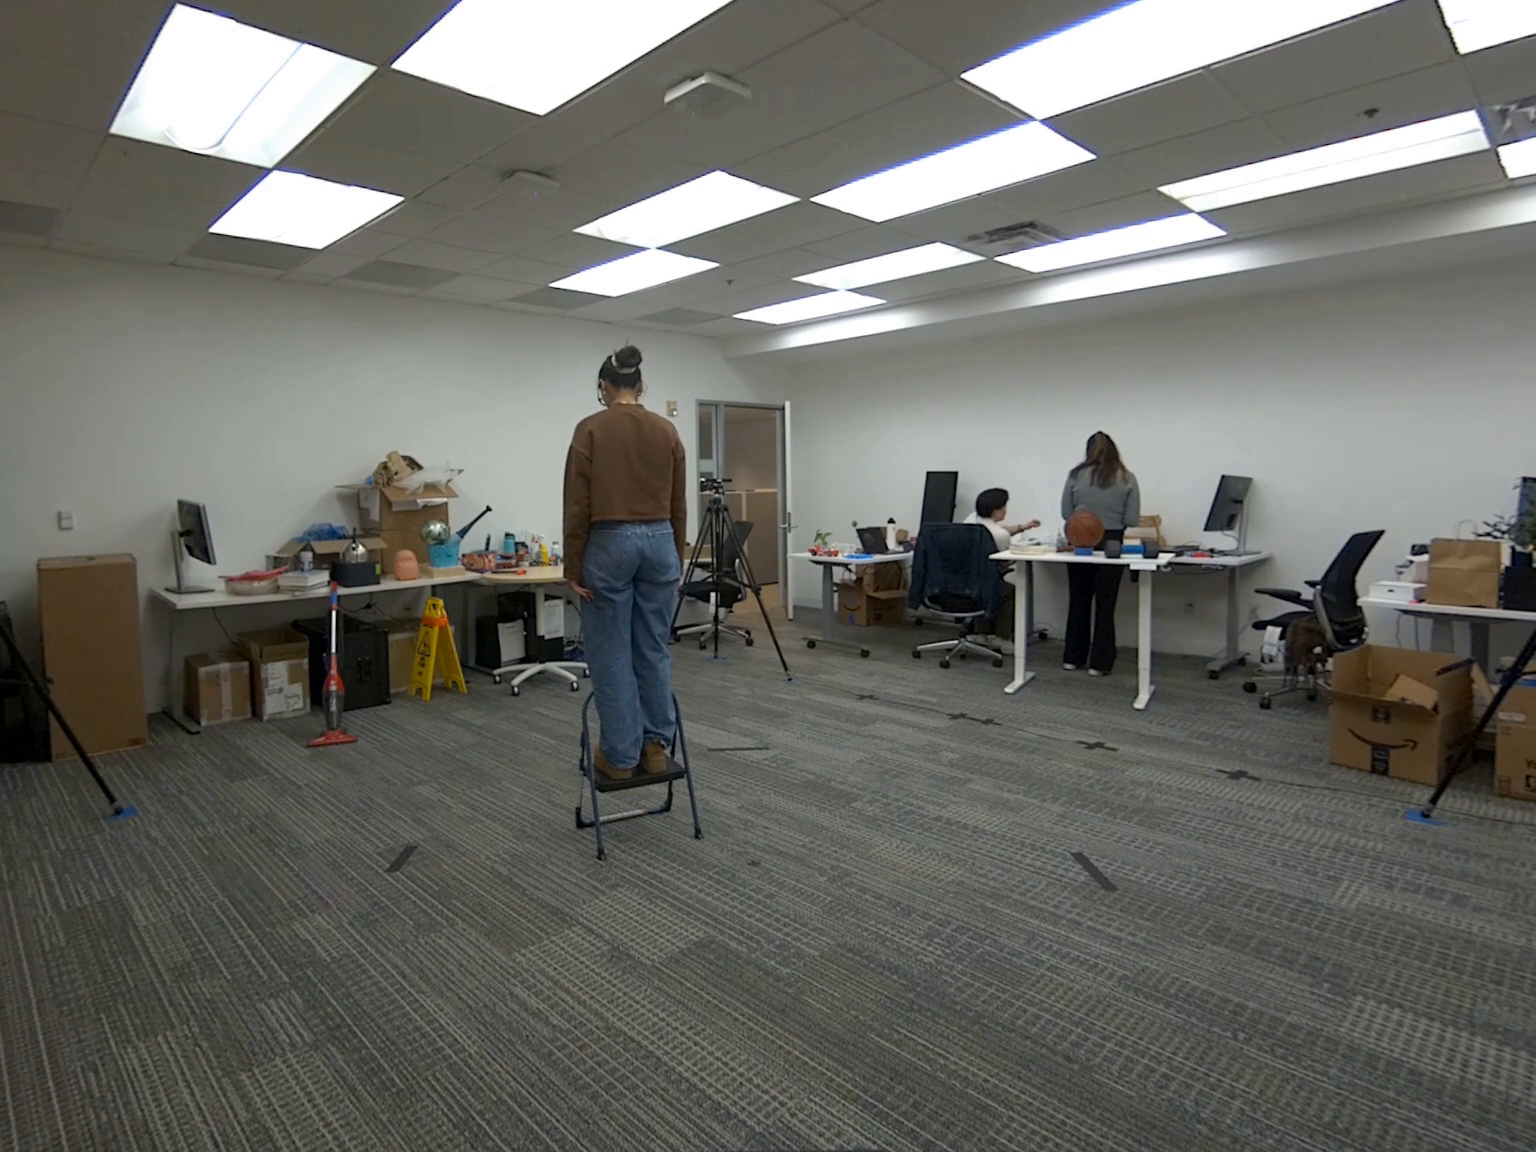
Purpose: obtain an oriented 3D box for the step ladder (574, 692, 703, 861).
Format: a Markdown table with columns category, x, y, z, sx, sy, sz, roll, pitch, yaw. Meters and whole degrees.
| category | x | y | z | sx | sy | sz | roll | pitch | yaw |
| --- | --- | --- | --- | --- | --- | --- | --- | --- | --- |
| step ladder | -0.526 | 0.718 | 3.386 | 0.421 | 0.604 | 0.358 | -4 | 4 | -28 |
